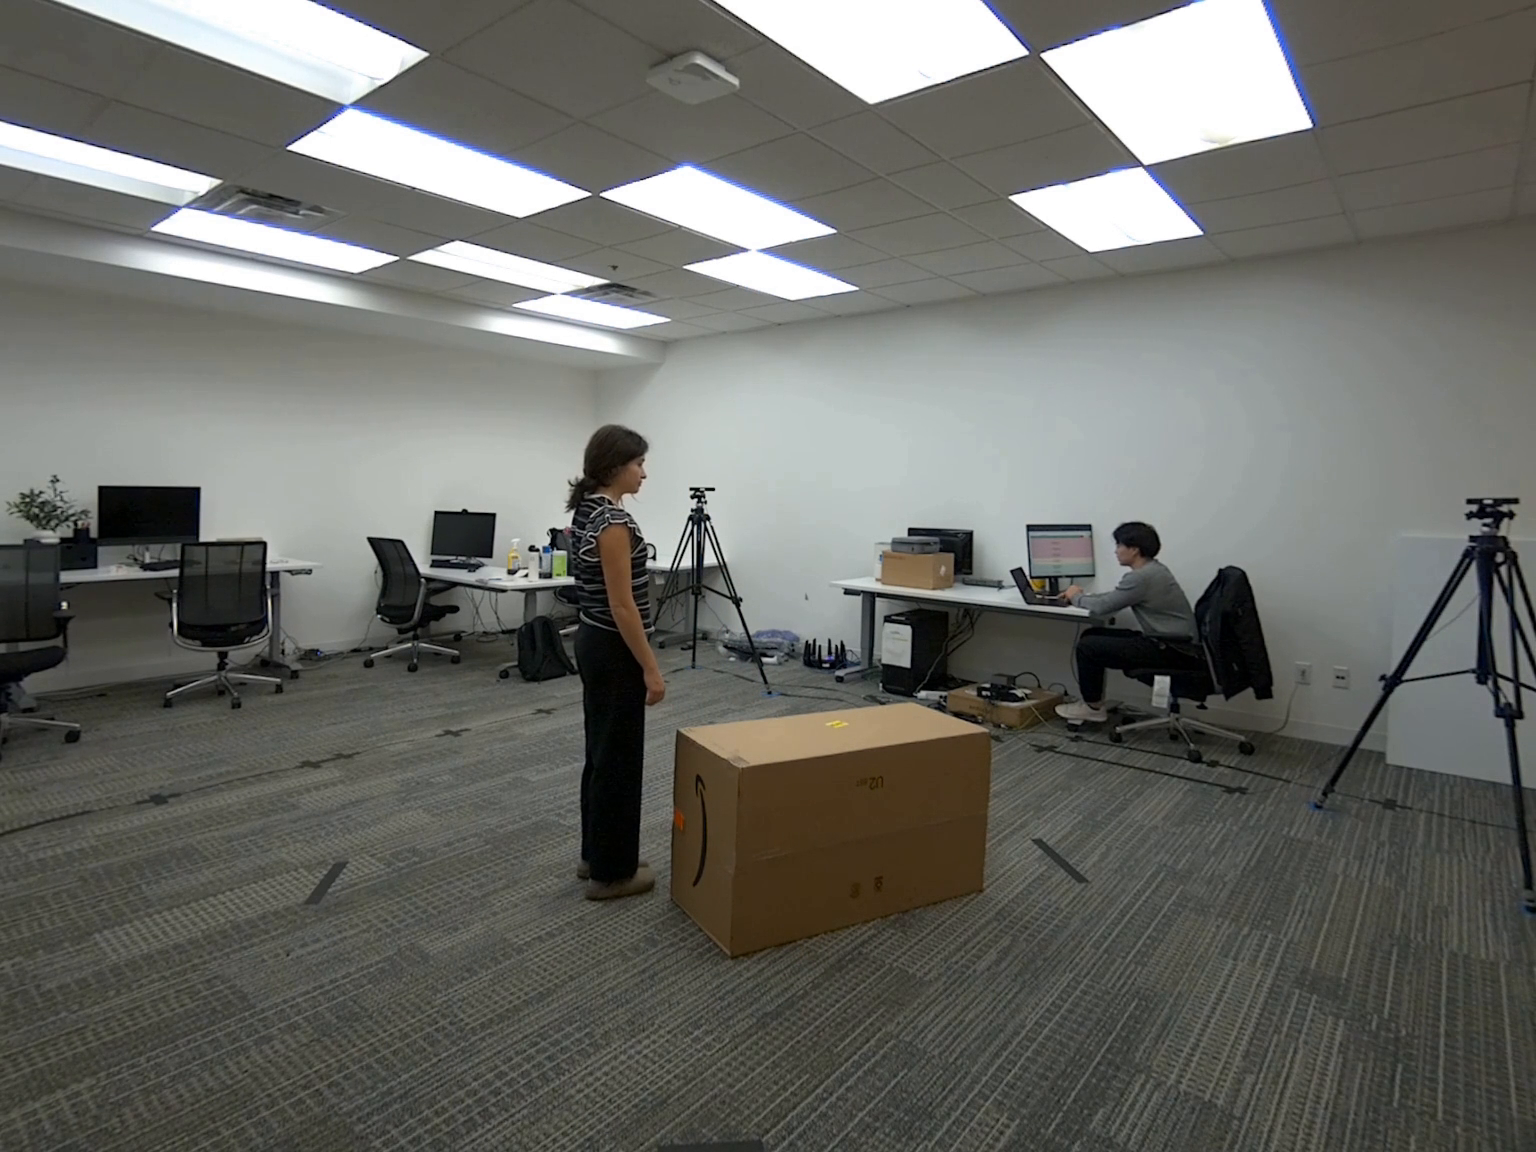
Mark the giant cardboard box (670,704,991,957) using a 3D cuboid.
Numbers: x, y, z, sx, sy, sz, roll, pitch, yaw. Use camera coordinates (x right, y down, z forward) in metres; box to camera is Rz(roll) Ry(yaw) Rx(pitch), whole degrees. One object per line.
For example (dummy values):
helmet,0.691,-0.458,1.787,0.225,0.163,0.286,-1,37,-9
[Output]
giant cardboard box,0.219,0.804,2.916,0.999,0.576,0.439,-1,5,-29
